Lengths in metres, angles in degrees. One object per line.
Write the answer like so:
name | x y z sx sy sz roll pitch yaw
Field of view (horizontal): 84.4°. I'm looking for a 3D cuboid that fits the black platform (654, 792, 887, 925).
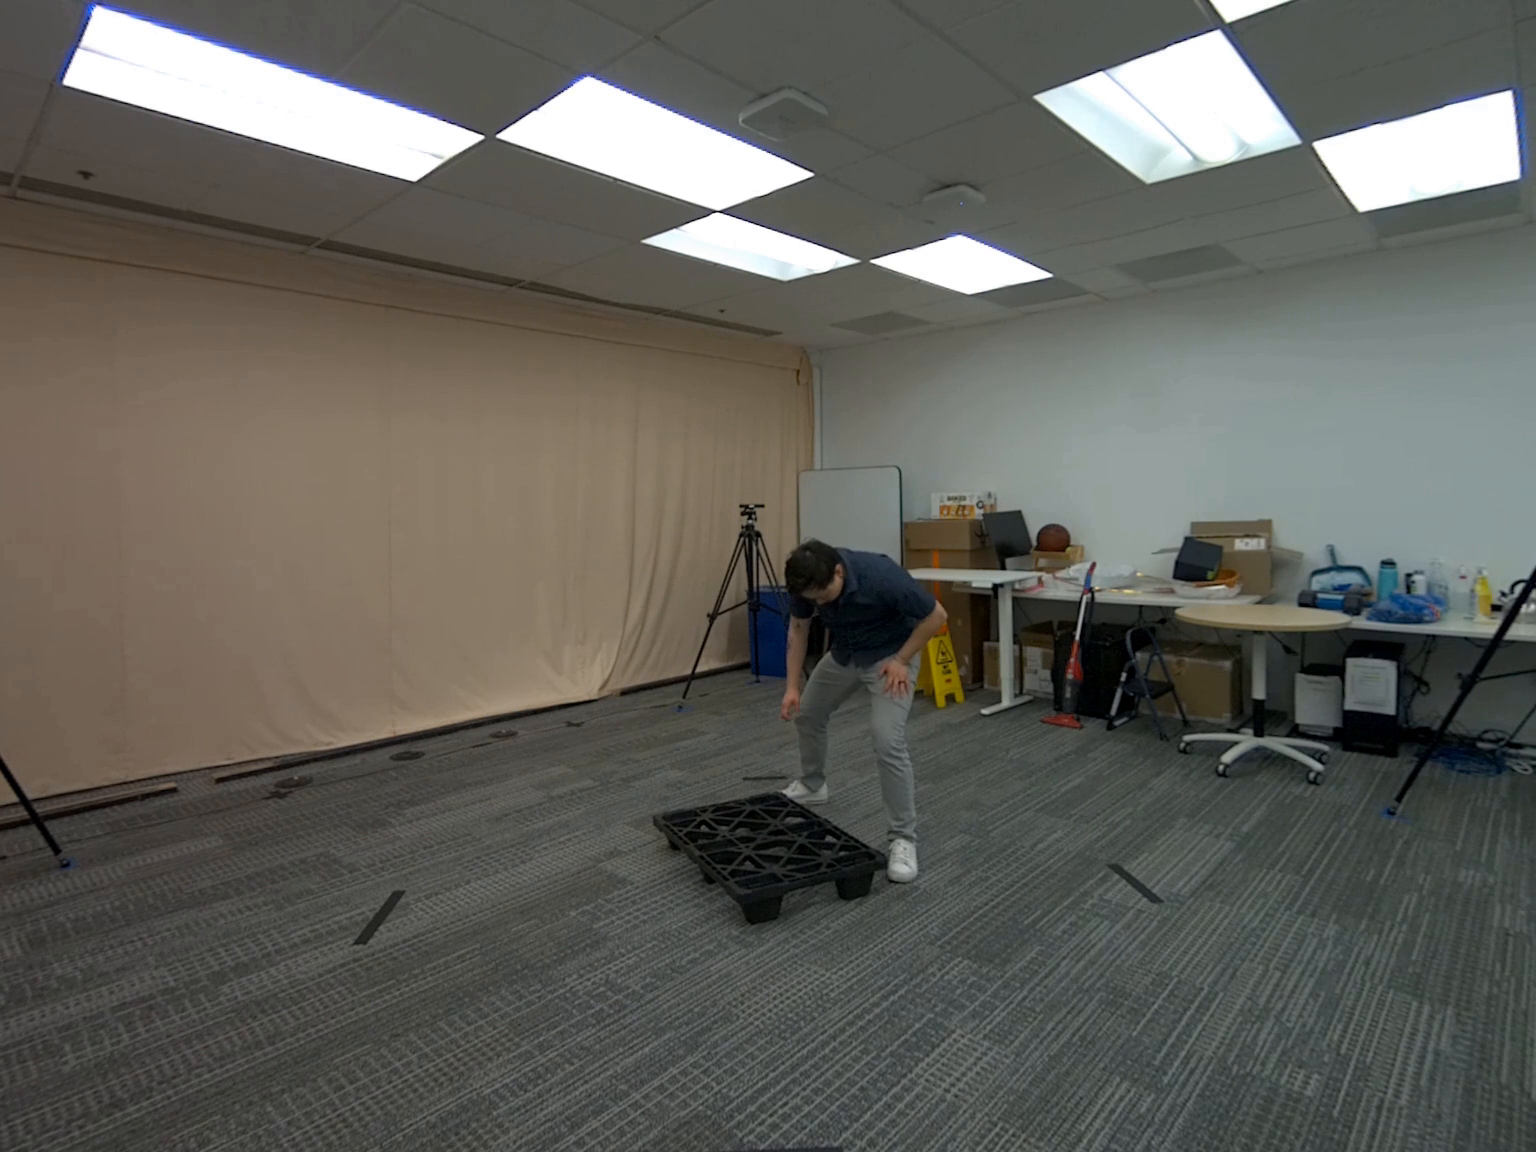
black platform | -0.019 1.053 3.215 0.590 0.143 0.827 -3 5 -27
